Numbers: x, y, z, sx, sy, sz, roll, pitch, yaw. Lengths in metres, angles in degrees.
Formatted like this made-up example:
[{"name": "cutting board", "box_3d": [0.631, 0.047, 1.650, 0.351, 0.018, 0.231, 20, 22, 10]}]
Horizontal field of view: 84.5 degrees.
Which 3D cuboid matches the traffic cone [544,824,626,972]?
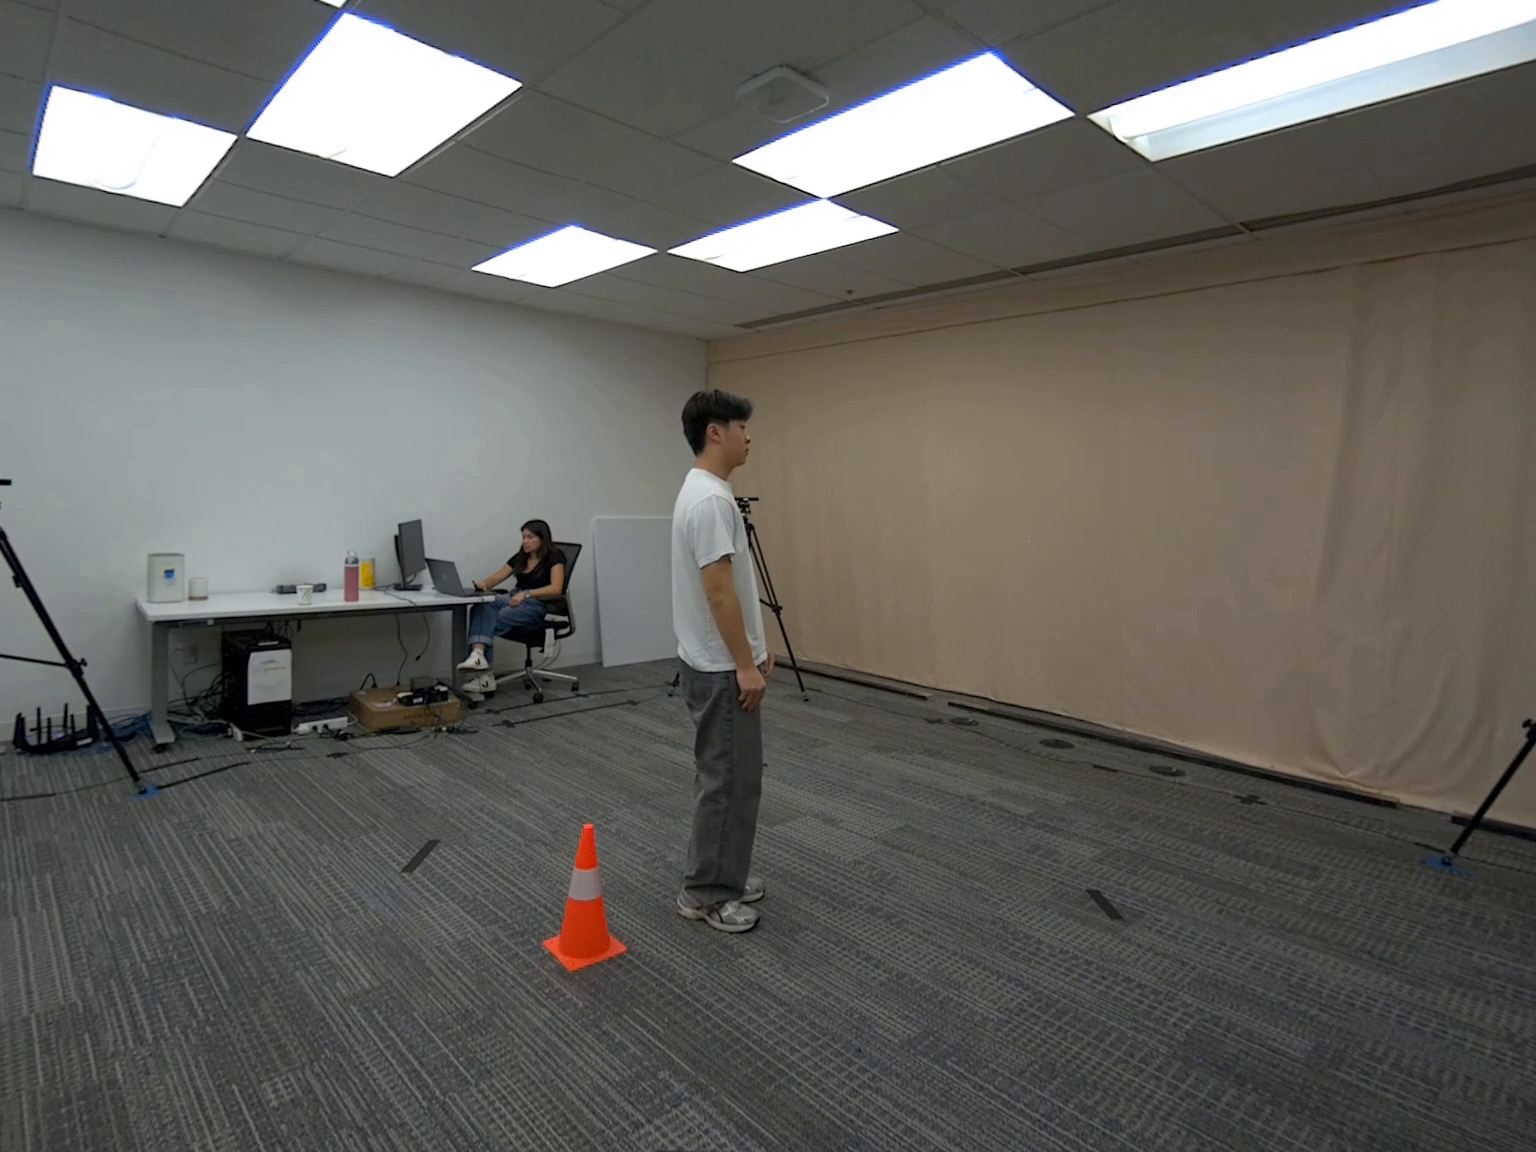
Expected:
[{"name": "traffic cone", "box_3d": [-0.560, 0.965, 2.582, 0.201, 0.383, 0.208, 0, 4, -31]}]
